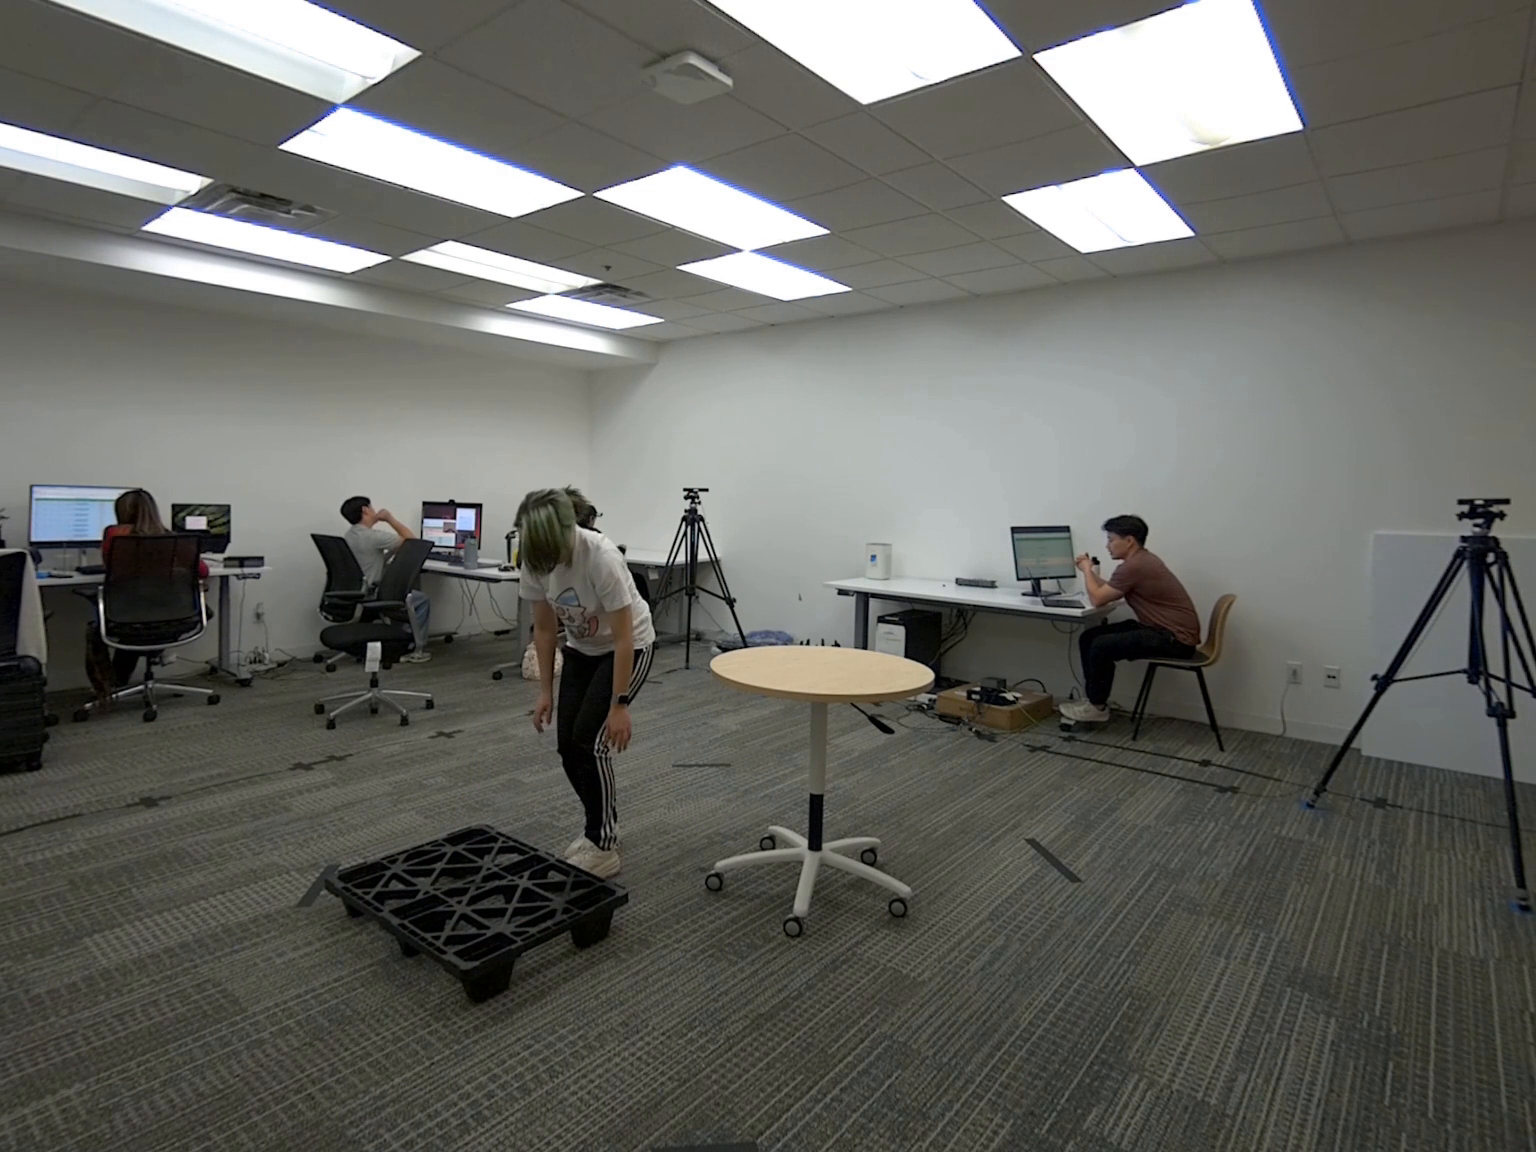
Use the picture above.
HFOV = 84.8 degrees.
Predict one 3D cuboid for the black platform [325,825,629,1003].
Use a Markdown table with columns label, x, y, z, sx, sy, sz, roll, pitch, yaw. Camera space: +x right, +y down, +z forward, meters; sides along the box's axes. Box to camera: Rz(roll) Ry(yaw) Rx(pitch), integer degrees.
| label | x | y | z | sx | sy | sz | roll | pitch | yaw |
| --- | --- | --- | --- | --- | --- | --- | --- | --- | --- |
| black platform | -0.933 | 1.034 | 2.681 | 0.832 | 0.143 | 0.588 | 5 | 8 | 38 |
